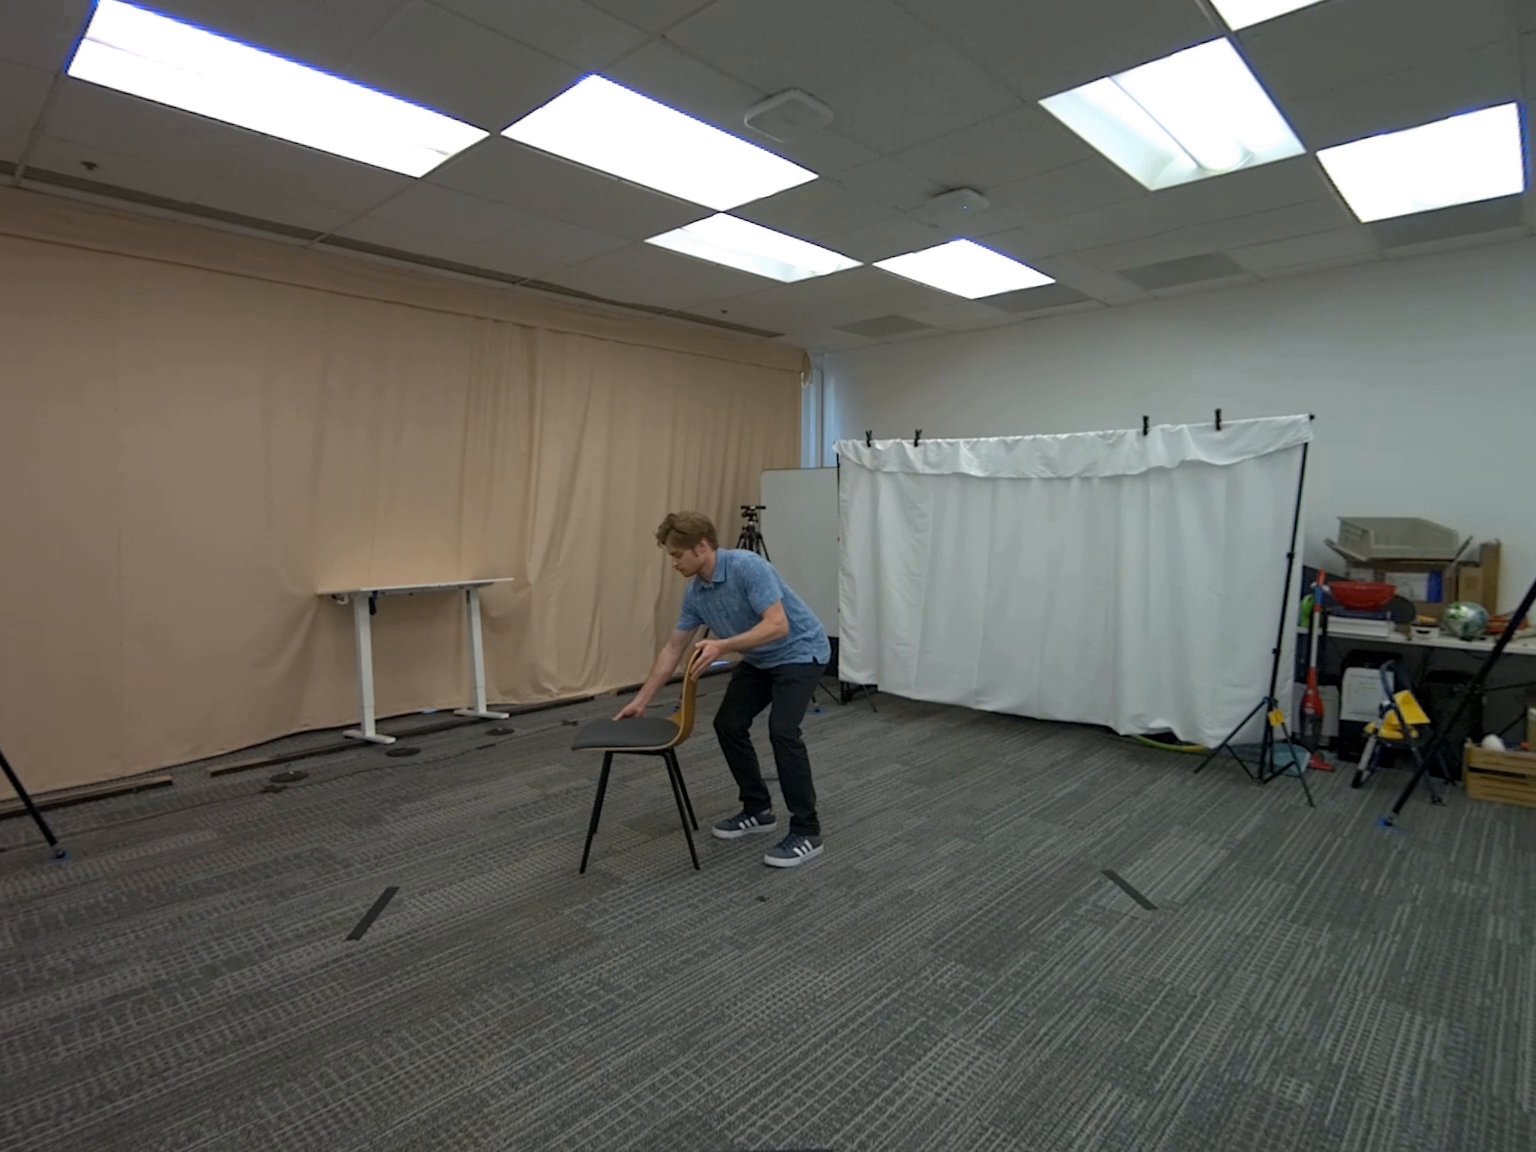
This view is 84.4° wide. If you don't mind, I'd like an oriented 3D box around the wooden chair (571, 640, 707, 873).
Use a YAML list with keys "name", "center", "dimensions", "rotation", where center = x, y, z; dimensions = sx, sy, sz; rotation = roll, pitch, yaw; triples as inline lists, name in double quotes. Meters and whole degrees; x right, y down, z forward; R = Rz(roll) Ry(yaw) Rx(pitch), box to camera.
- name: "wooden chair"
  center: [-0.518, 0.679, 3.374]
  dimensions: [0.521, 0.876, 0.480]
  rotation: [3, 2, -4]
